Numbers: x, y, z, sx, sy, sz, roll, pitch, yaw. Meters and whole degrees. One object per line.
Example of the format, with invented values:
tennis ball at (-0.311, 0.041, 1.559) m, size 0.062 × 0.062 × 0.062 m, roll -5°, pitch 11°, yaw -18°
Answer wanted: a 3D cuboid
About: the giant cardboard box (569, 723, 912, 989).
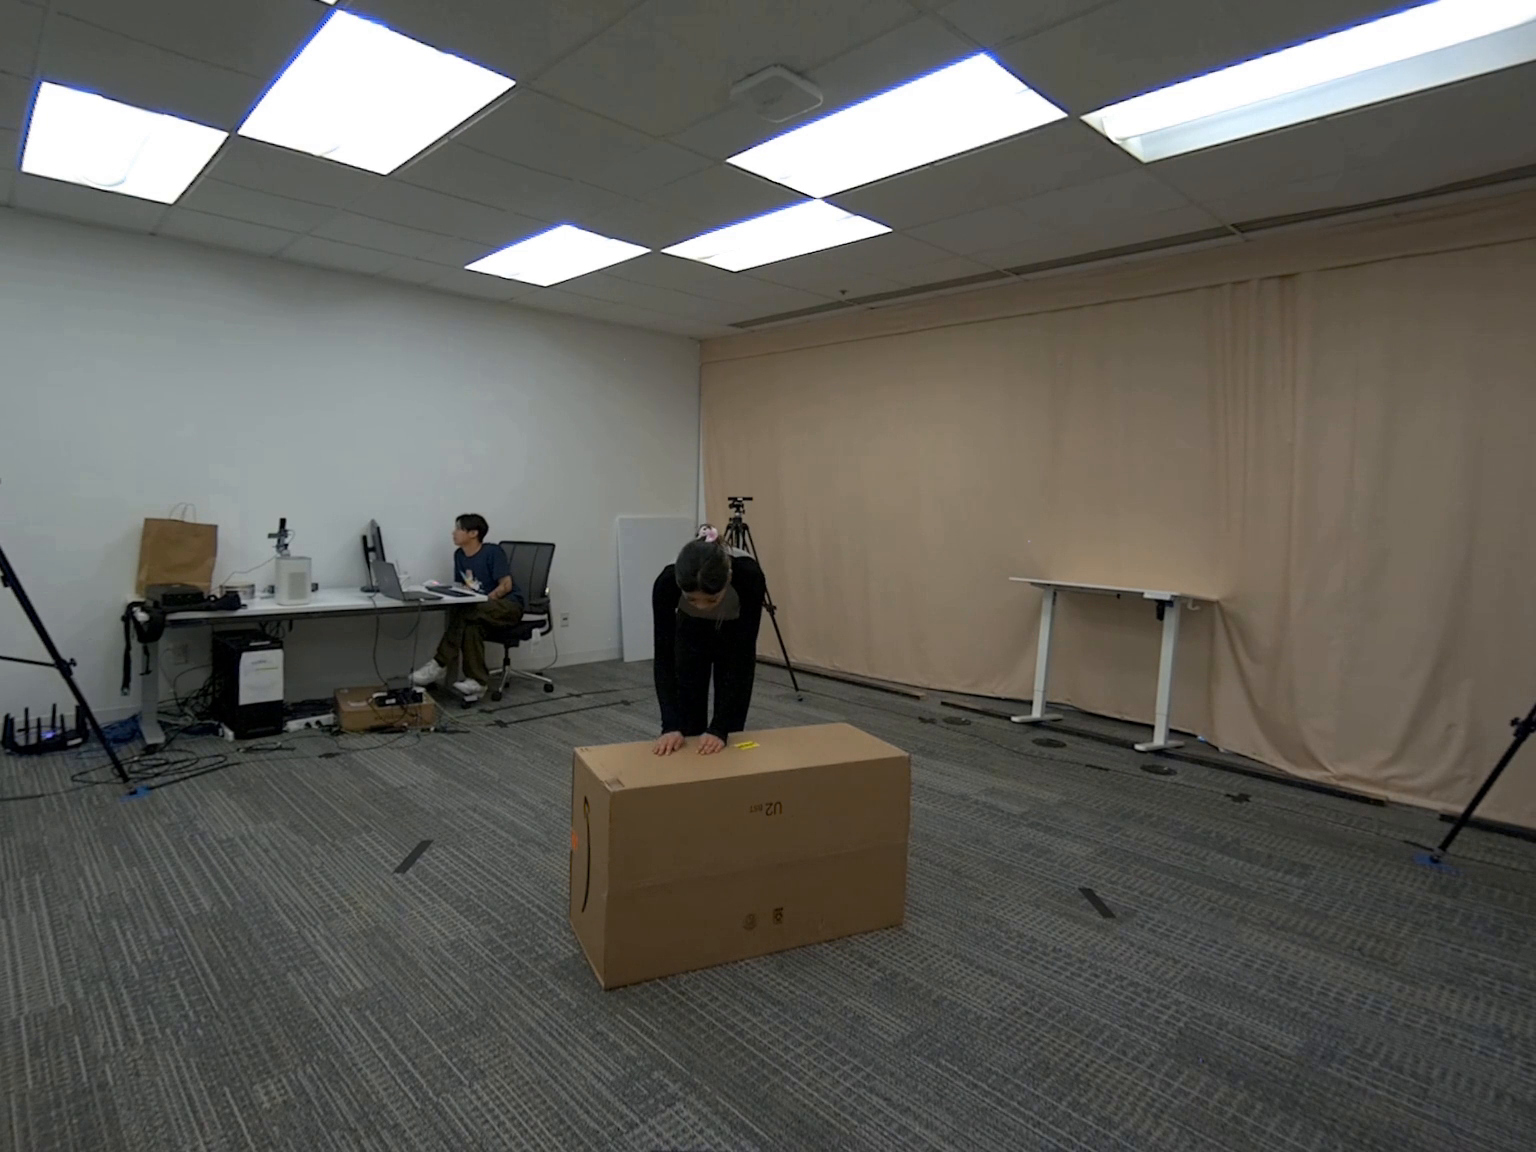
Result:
giant cardboard box at (-0.092, 0.854, 2.741) m, size 1.008 × 0.576 × 0.435 m, roll 0°, pitch 4°, yaw -24°
